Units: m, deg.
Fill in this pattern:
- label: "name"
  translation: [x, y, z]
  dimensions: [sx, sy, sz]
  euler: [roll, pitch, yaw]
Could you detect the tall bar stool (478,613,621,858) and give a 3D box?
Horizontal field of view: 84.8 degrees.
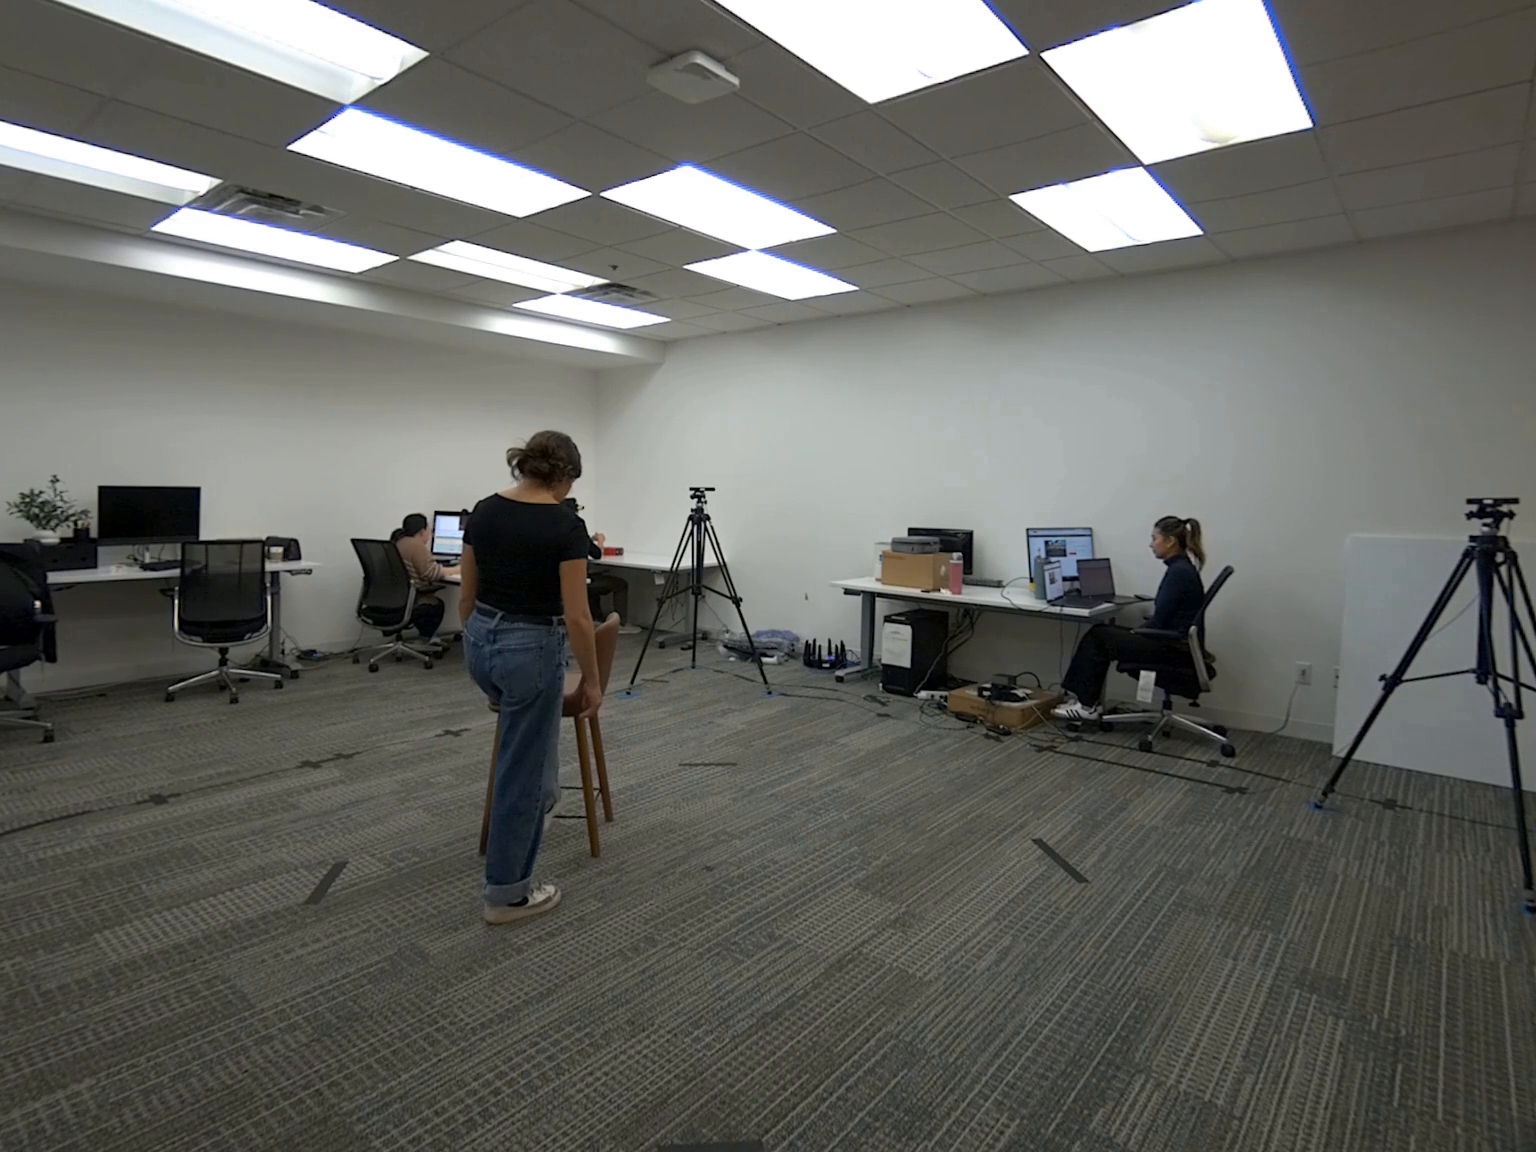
- label: "tall bar stool"
  translation: [-0.861, 0.596, 3.362]
  dimensions: [0.468, 0.888, 0.457]
  euler: [3, 3, 1]
